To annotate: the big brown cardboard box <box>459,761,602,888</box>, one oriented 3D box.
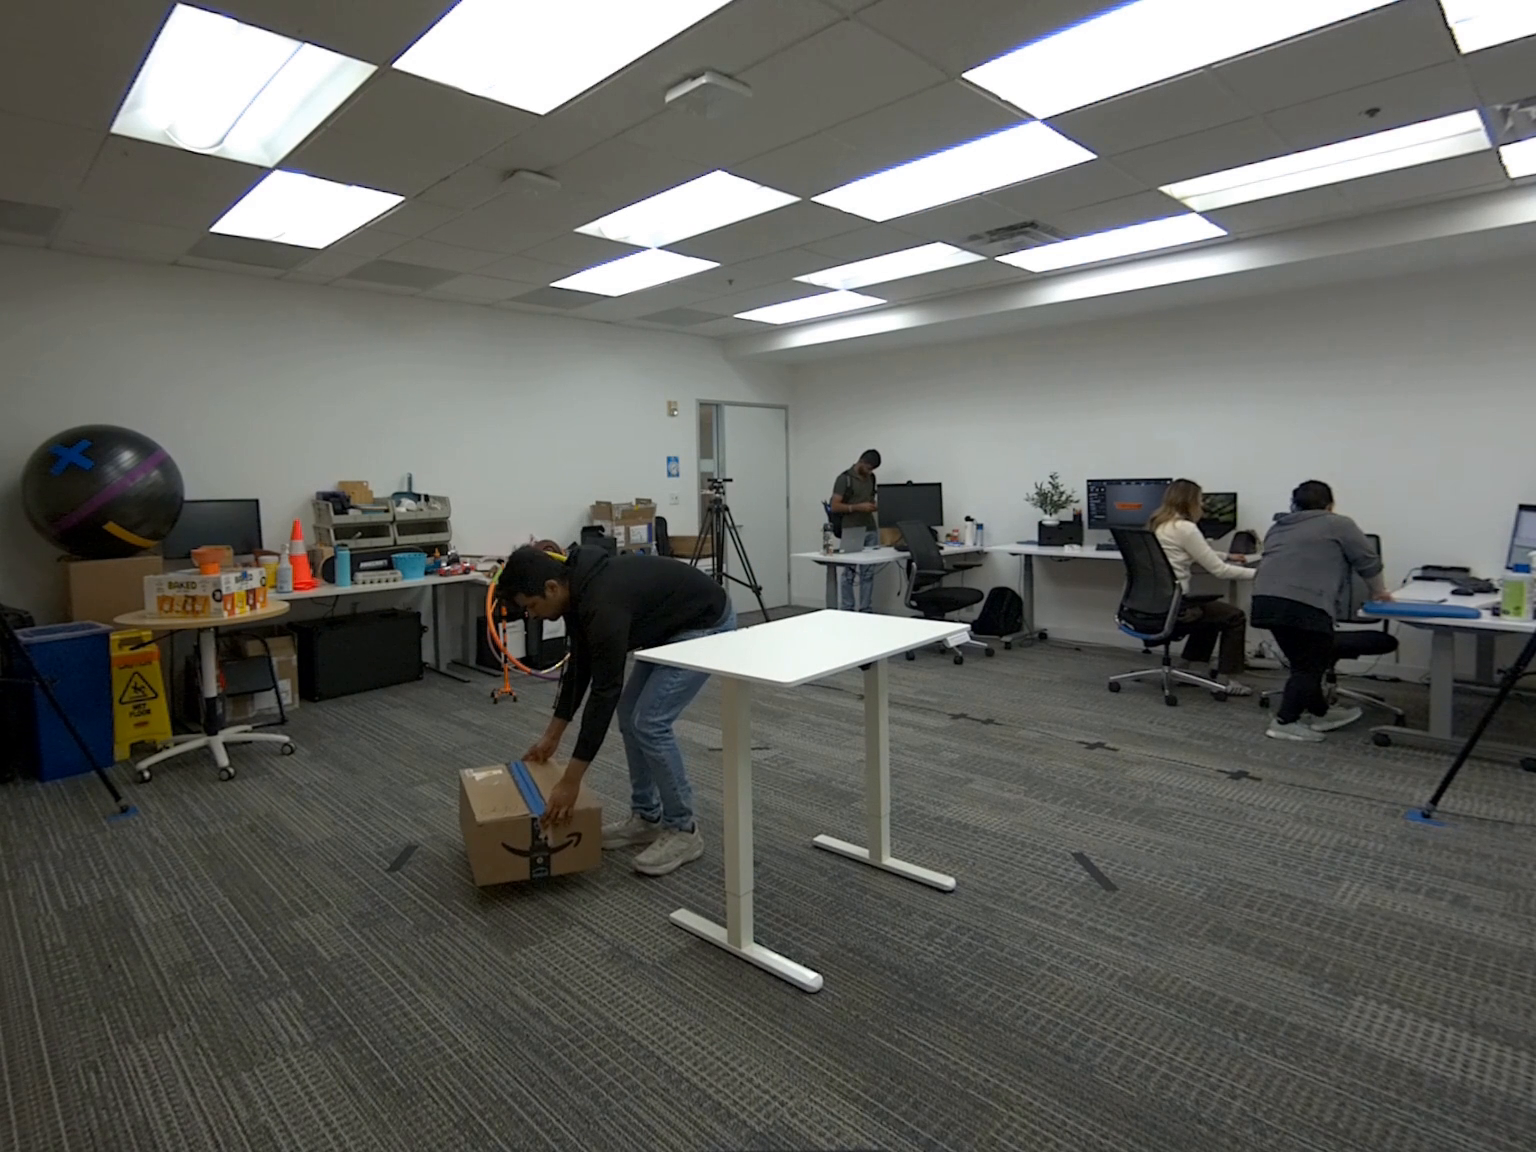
[{"bbox_3d":[-0.880,0.869,3.102,0.409,0.232,0.604,-2,7,-25],"label":"big brown cardboard box"}]
